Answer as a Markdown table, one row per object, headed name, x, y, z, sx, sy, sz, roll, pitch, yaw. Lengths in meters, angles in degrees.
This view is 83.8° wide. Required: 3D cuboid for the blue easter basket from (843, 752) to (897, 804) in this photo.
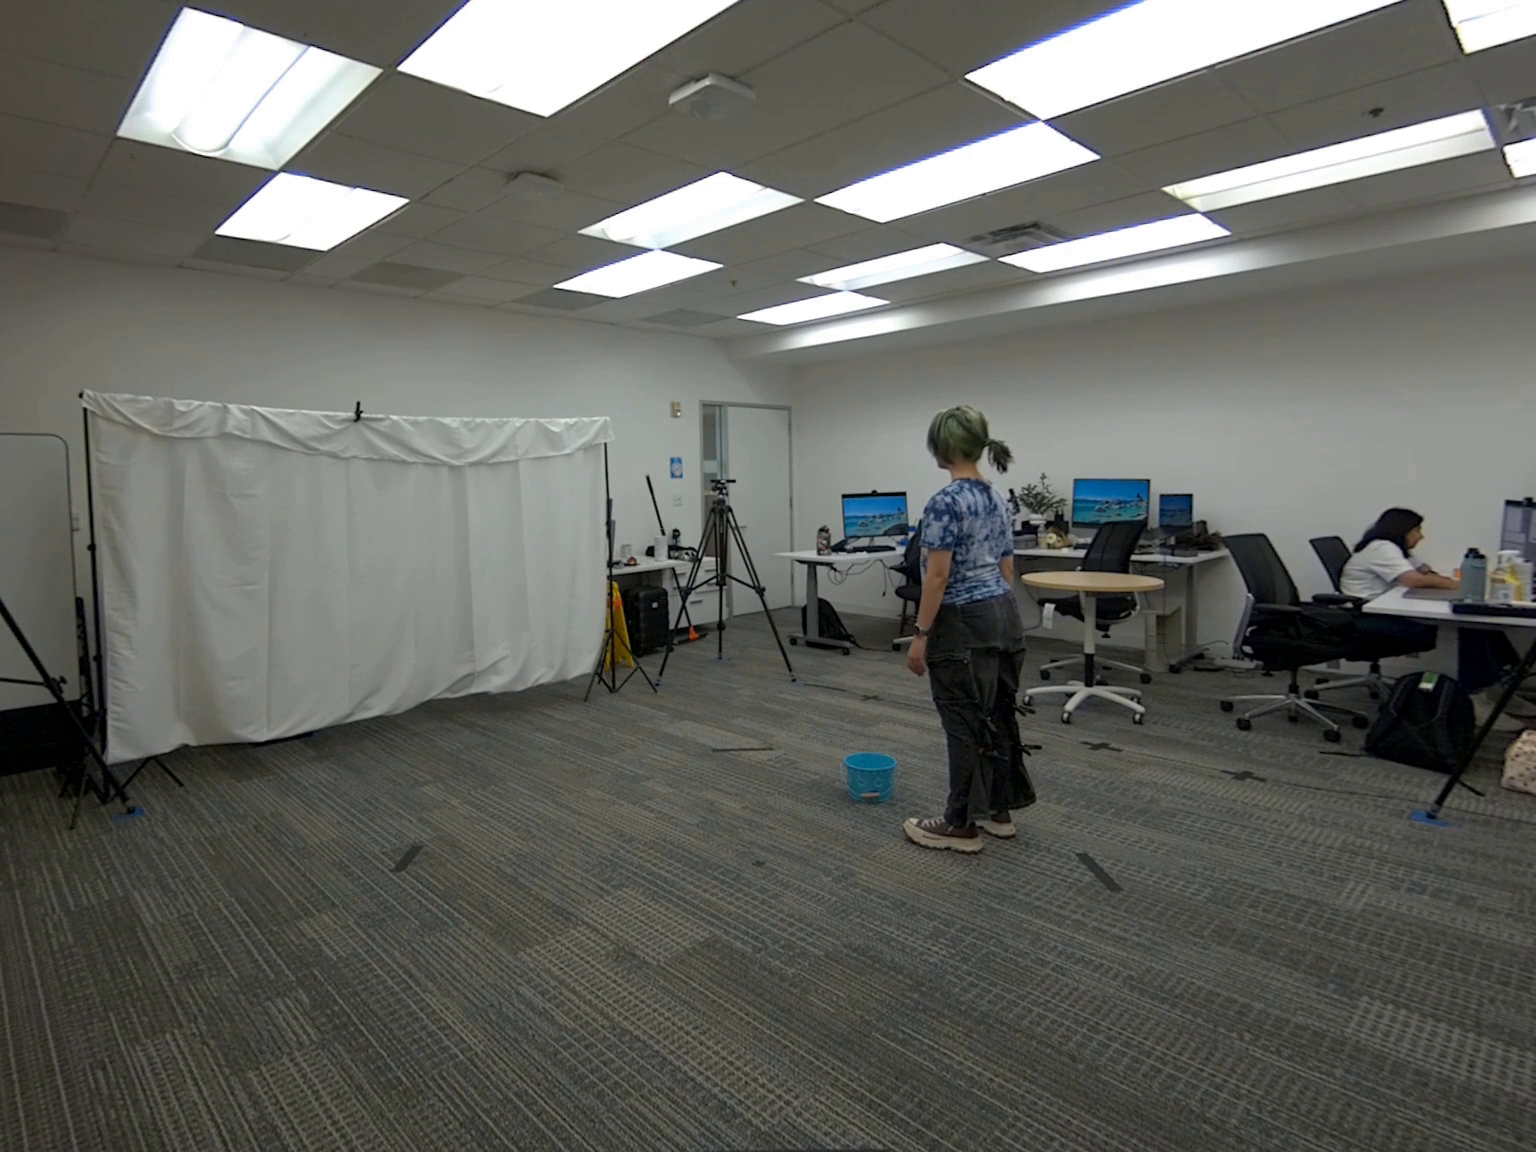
| name | x | y | z | sx | sy | sz | roll | pitch | yaw |
| --- | --- | --- | --- | --- | --- | --- | --- | --- | --- |
| blue easter basket | 0.448 | 0.888 | 3.766 | 0.243 | 0.155 | 0.245 | -2 | 6 | -1 |
